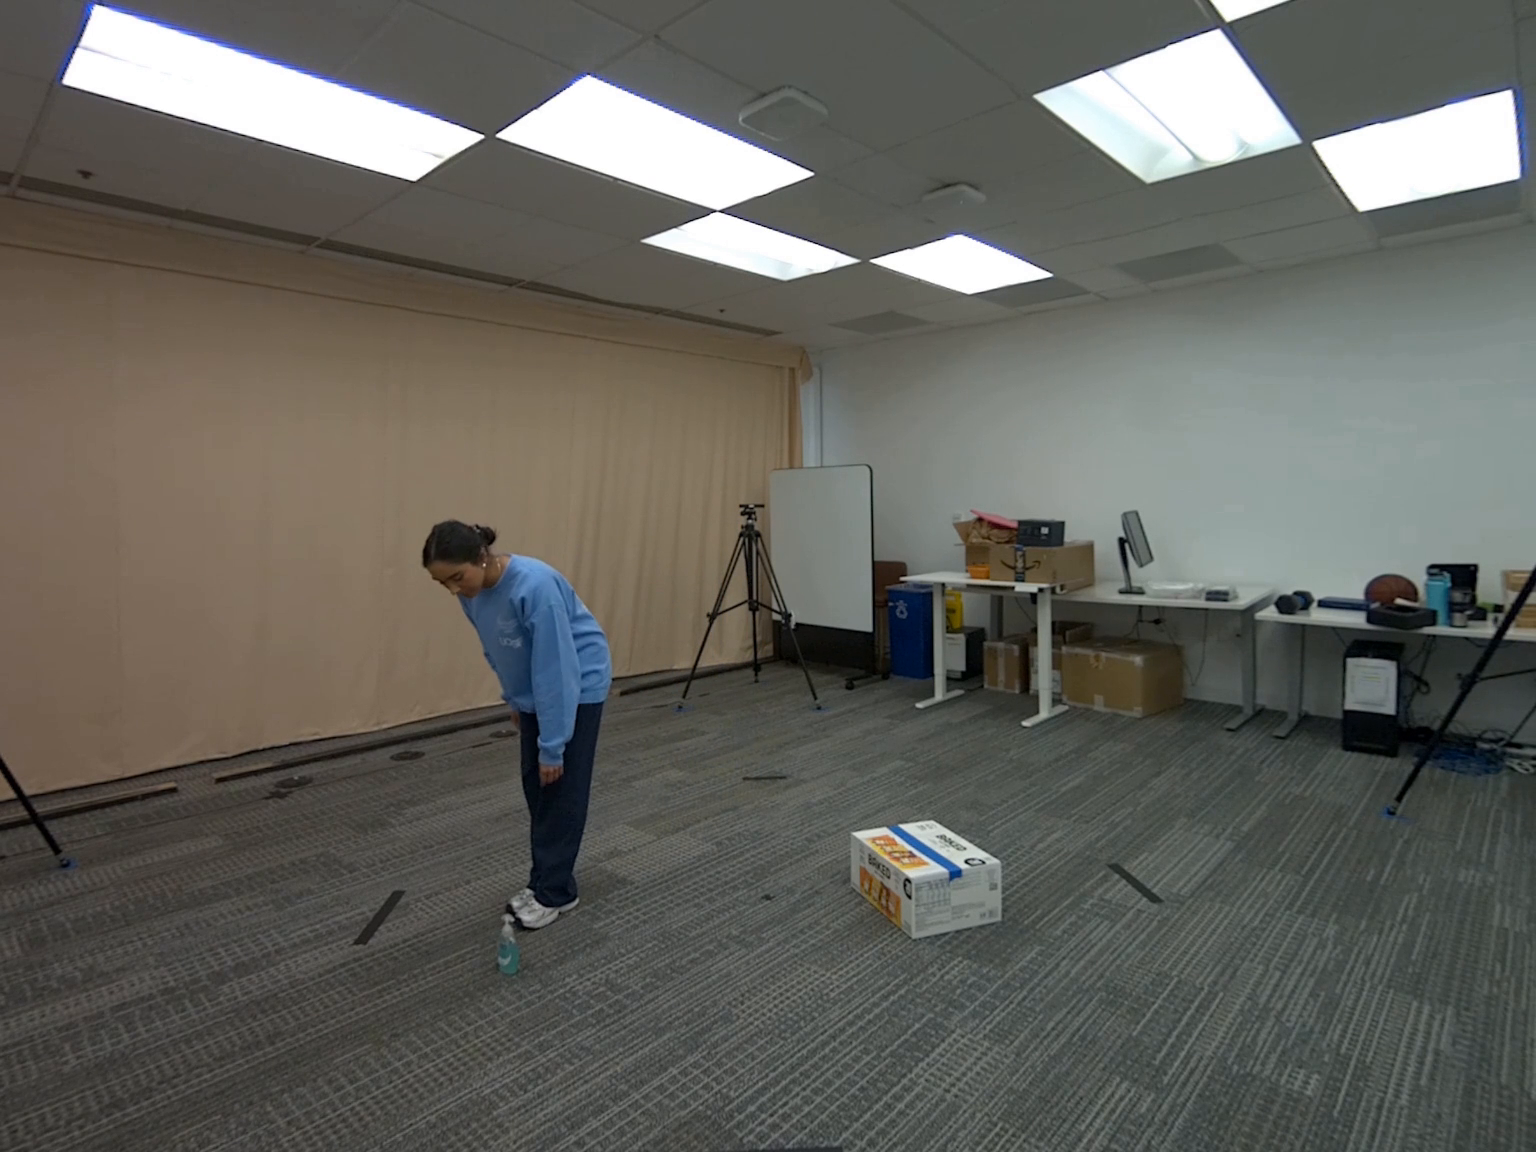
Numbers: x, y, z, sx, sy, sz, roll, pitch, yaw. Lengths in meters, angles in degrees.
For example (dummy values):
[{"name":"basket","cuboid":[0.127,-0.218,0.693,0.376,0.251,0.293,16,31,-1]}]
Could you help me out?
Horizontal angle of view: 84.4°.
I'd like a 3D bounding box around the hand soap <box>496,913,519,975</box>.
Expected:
[{"name":"hand soap","cuboid":[-0.785,1.106,2.550,0.087,0.168,0.042,2,4,41]}]
